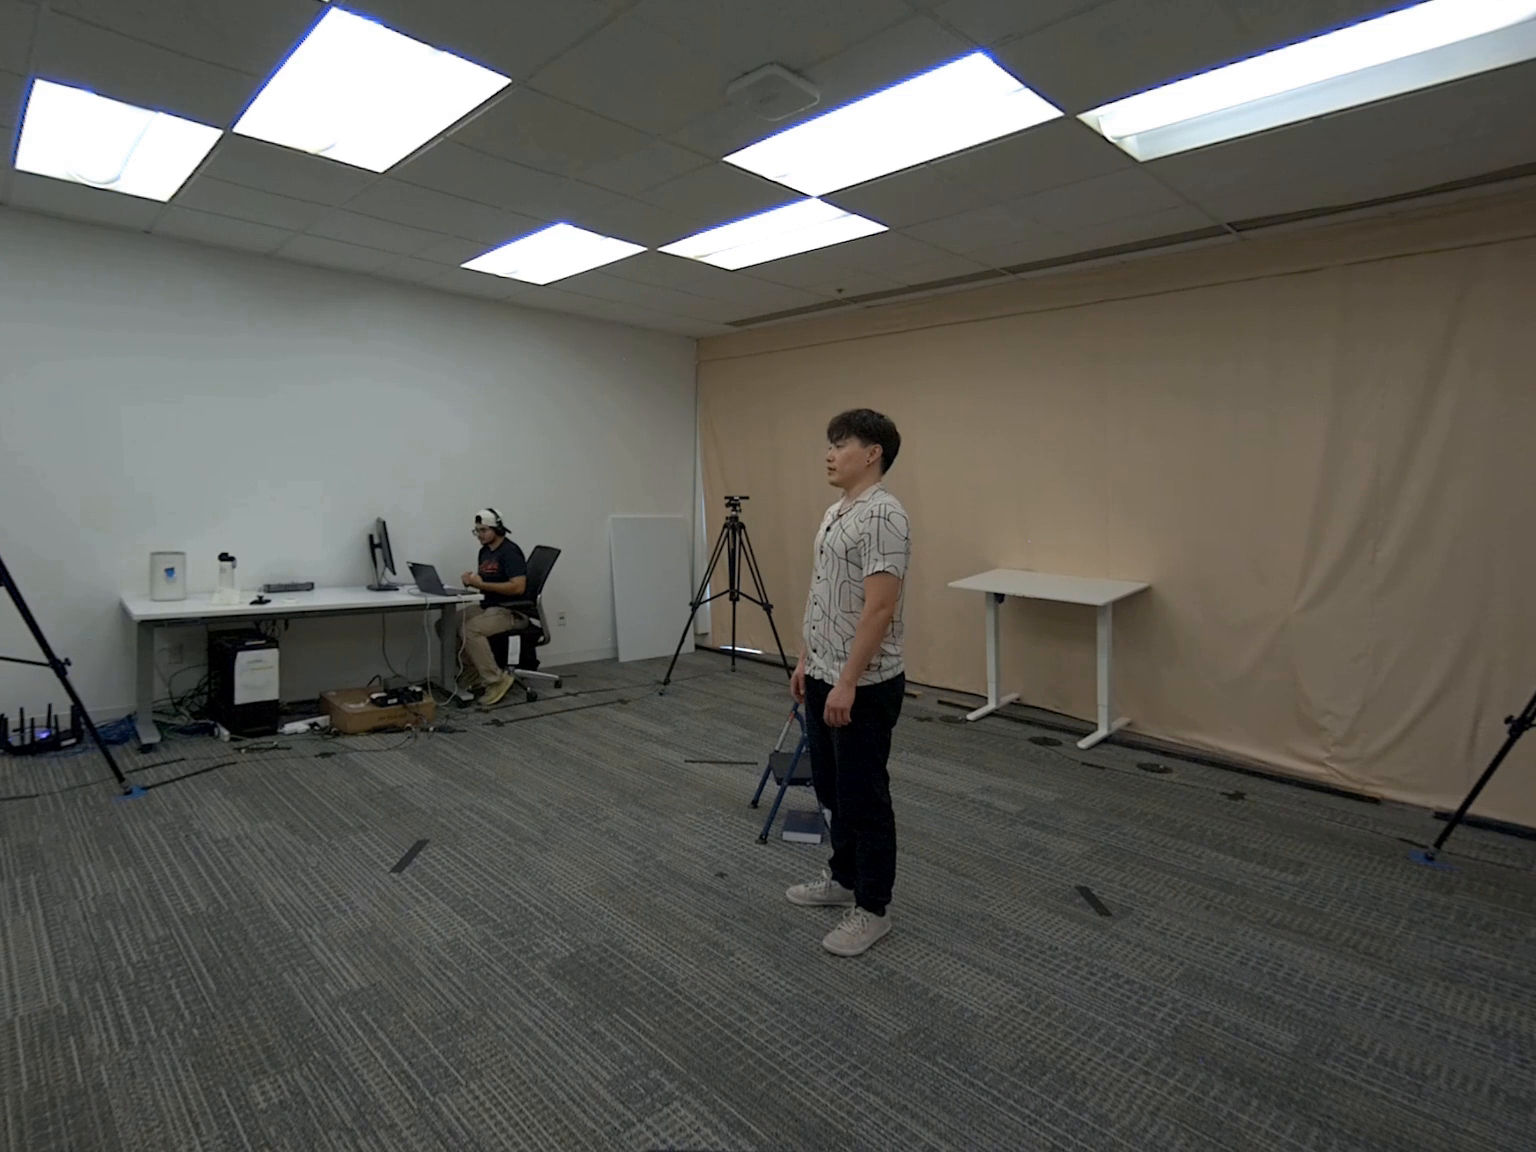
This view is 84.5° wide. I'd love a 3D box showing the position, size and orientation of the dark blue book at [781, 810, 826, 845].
[{"bbox_3d":[0.132,1.057,3.541,0.164,0.045,0.244,3,5,7],"label":"dark blue book"}]
